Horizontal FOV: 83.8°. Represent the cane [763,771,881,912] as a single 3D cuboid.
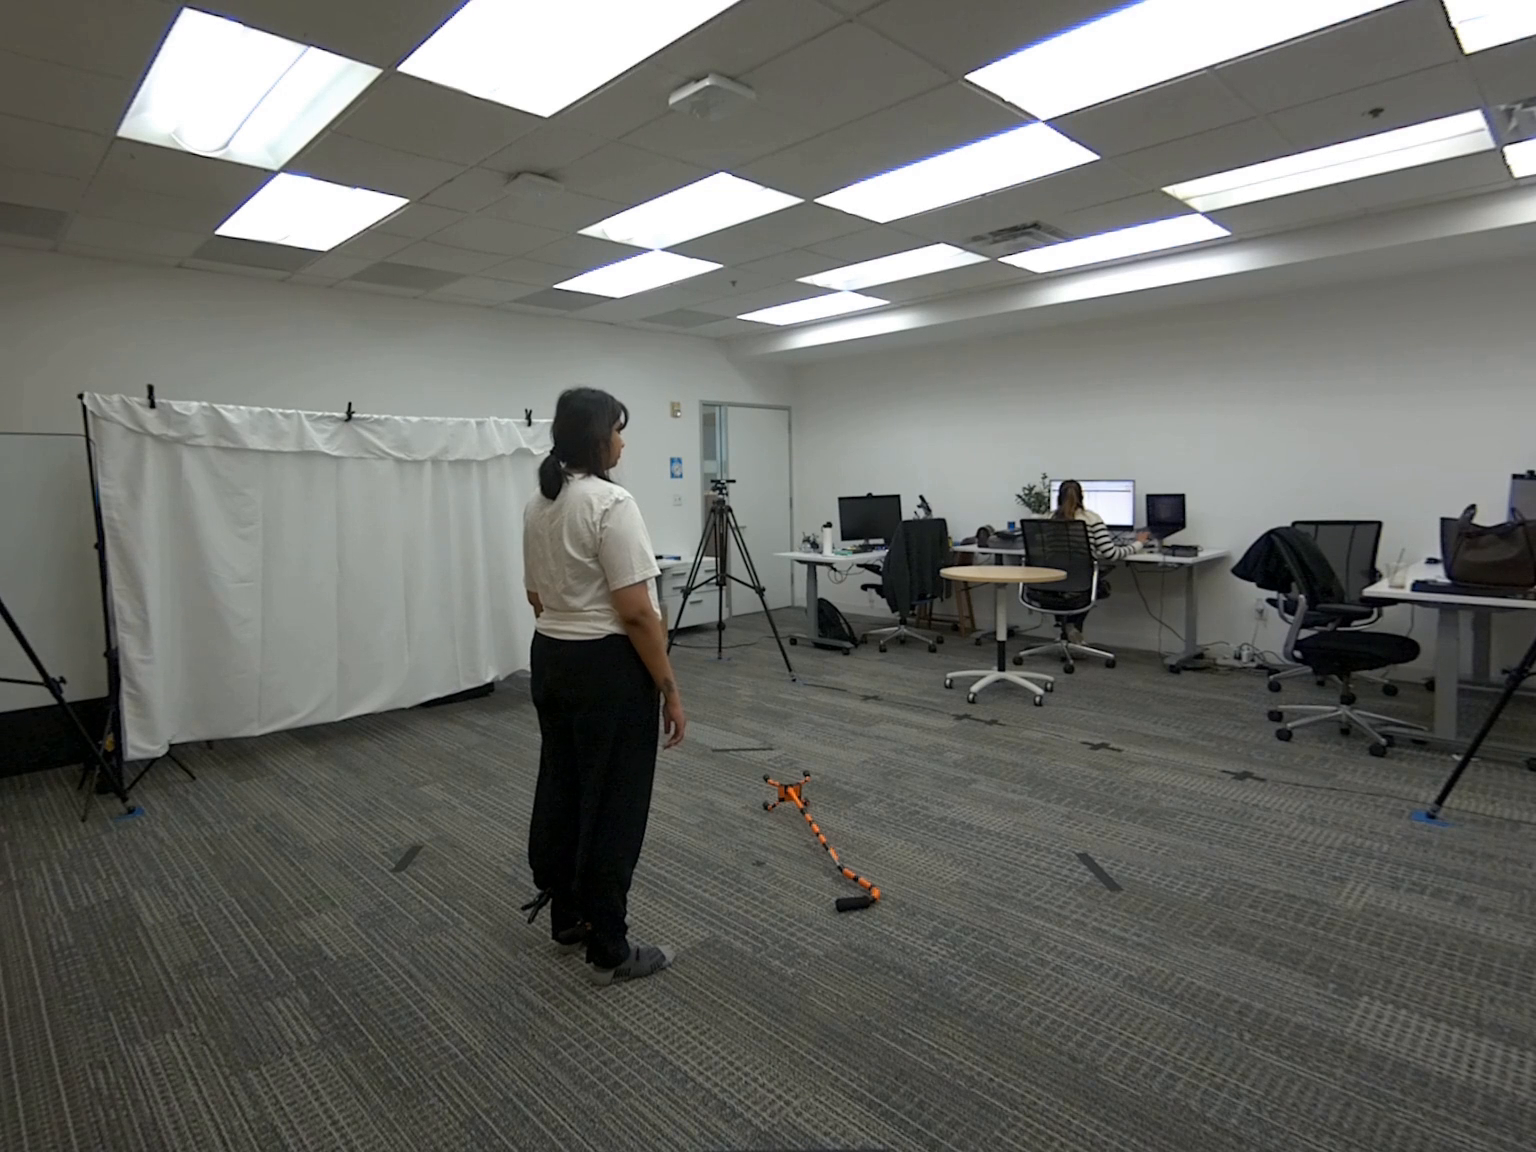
[{"bbox_3d":[0.195,0.986,3.206,0.204,0.150,0.927,-2,11,-14],"label":"cane"}]
